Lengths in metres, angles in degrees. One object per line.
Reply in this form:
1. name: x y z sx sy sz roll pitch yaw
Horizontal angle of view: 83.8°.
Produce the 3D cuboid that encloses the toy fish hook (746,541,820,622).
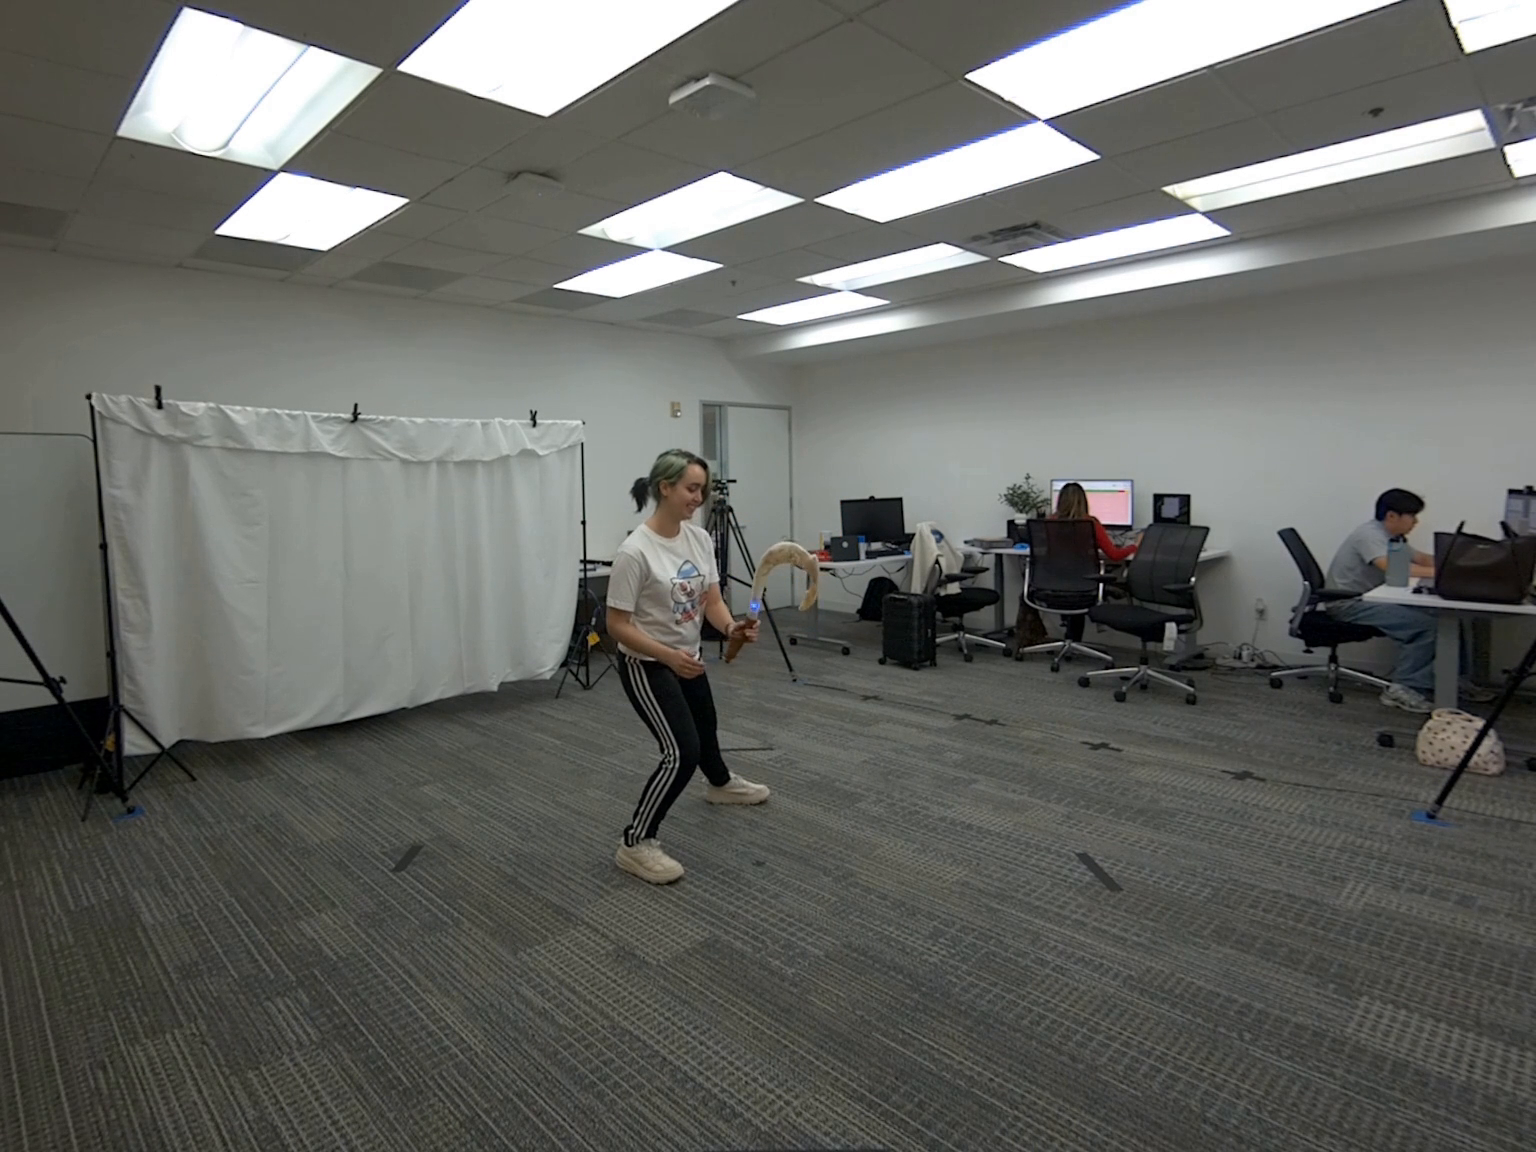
1. toy fish hook: 0.016 0.117 2.900 0.229 0.503 0.048 33 19 13
